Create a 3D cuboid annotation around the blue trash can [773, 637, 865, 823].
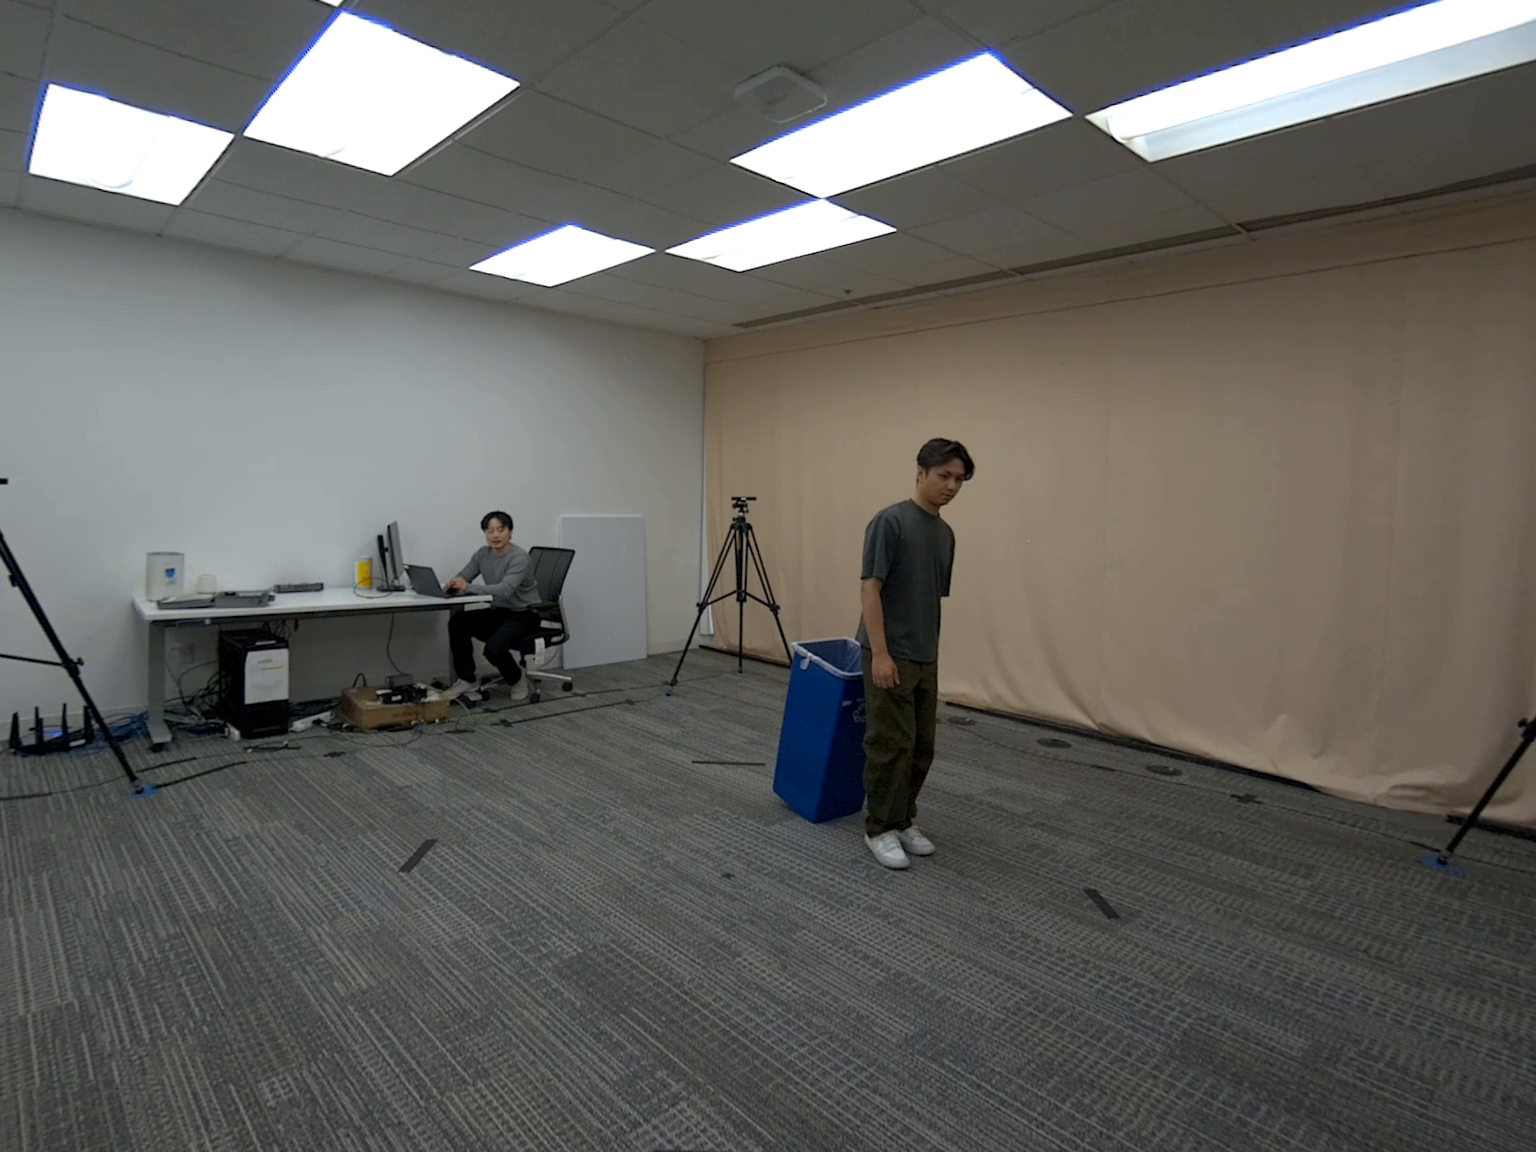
[{"bbox_3d":[0.279,0.679,3.760,0.366,0.708,0.390,-2,18,-39],"label":"blue trash can"}]
